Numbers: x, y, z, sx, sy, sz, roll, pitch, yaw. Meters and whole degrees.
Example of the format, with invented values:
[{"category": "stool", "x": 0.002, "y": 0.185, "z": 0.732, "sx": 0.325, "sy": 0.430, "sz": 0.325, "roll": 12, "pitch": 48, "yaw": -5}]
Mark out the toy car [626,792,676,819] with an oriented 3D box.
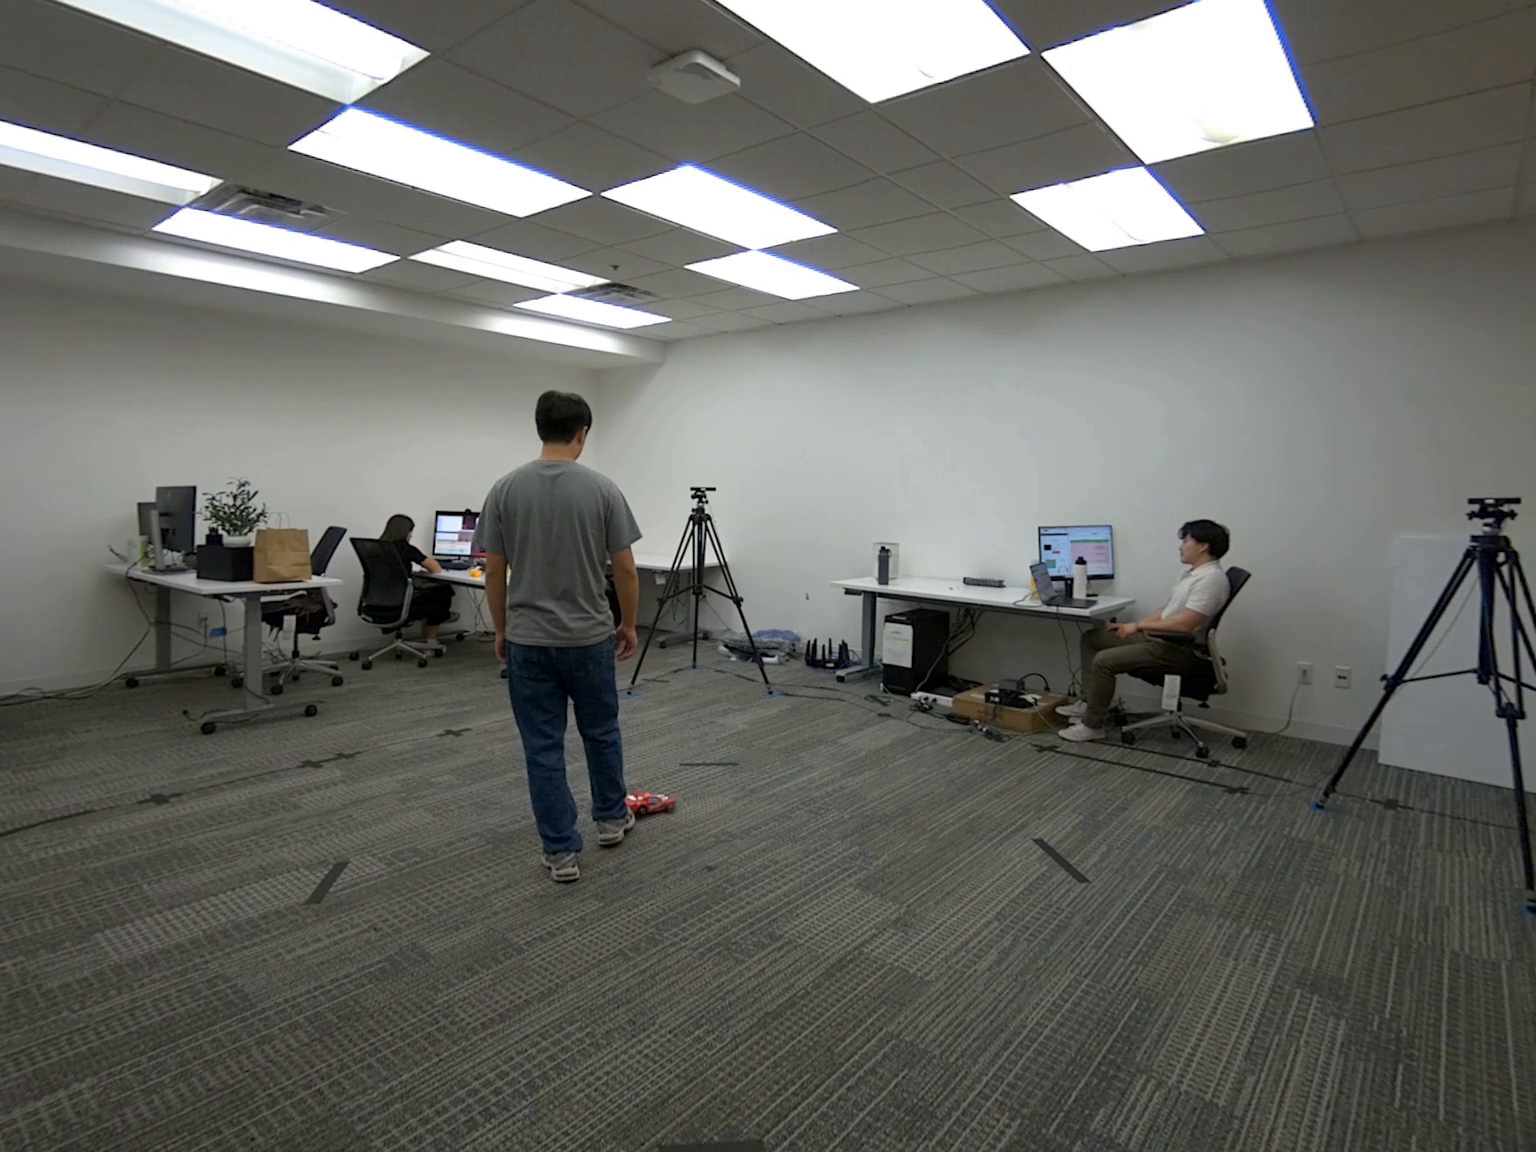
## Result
[{"category": "toy car", "x": -0.536, "y": 0.969, "z": 3.631, "sx": 0.245, "sy": 0.083, "sz": 0.134, "roll": 17, "pitch": -6, "yaw": -35}]
